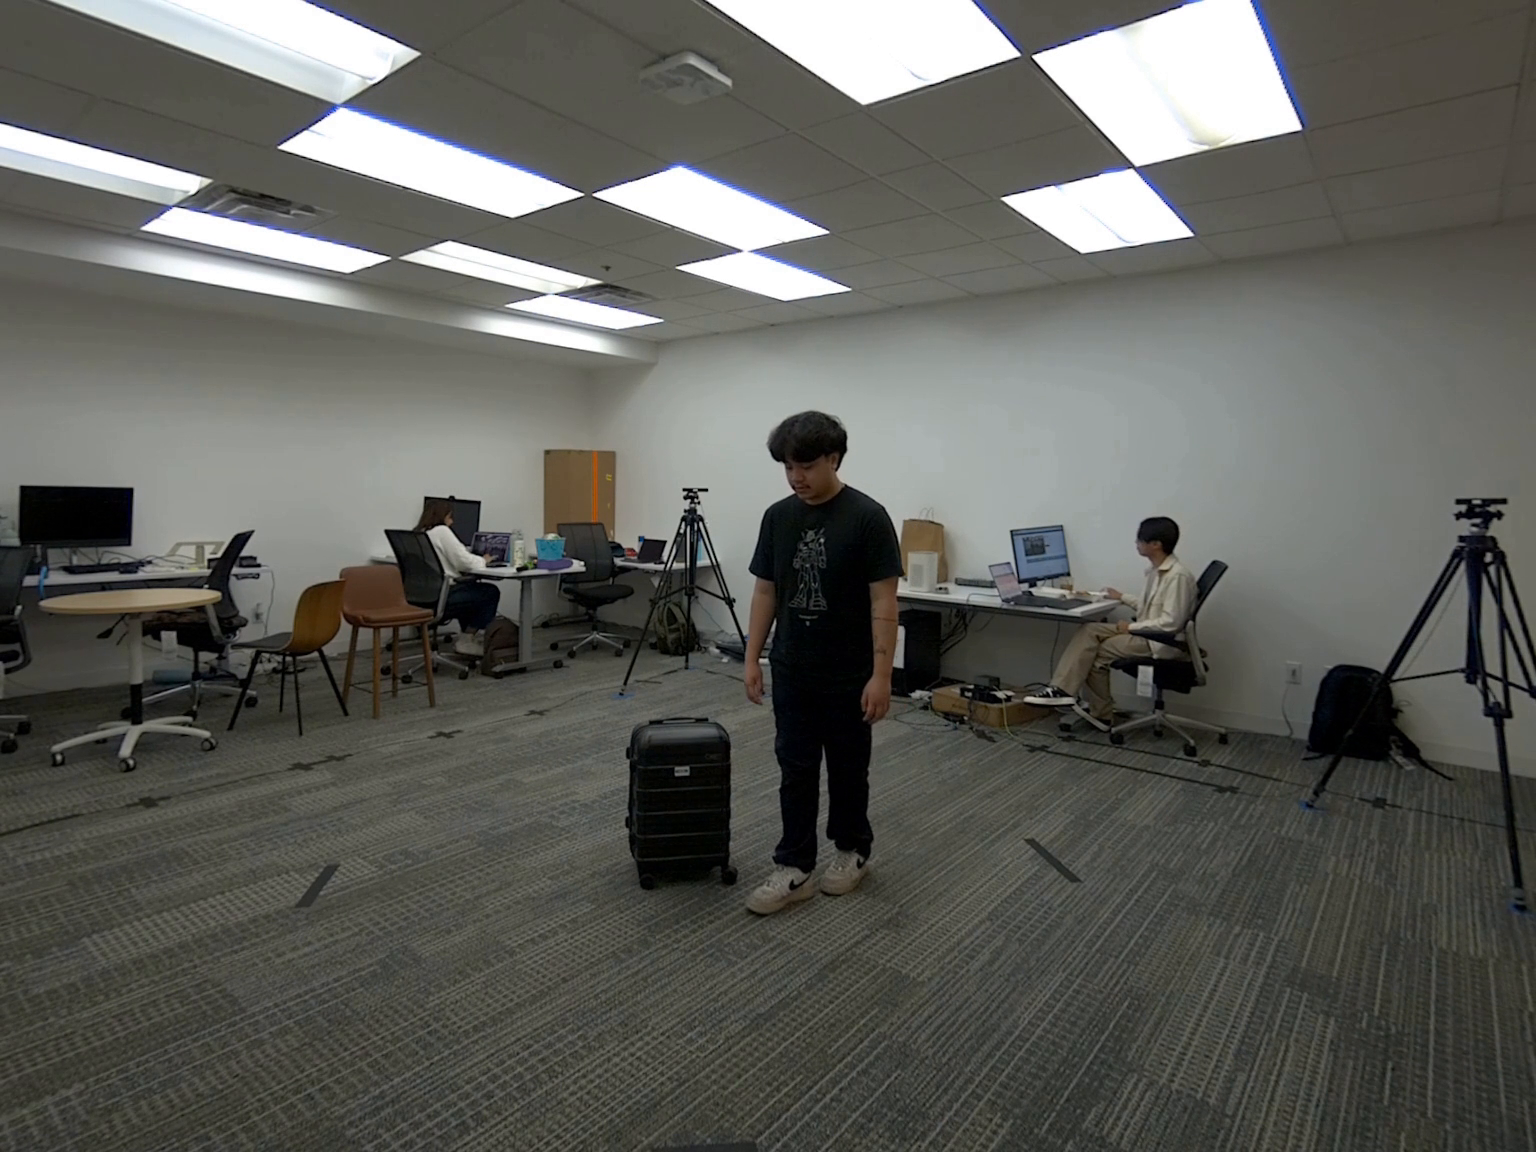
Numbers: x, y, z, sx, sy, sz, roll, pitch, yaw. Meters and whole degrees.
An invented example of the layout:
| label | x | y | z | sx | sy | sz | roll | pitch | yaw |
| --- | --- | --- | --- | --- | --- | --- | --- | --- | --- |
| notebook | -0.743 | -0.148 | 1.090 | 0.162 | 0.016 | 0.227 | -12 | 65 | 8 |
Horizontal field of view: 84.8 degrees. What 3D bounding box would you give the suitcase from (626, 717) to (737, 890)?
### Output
| label | x | y | z | sx | sy | sz | roll | pitch | yaw |
| --- | --- | --- | --- | --- | --- | --- | --- | --- | --- |
| suitcase | -0.327 | 0.794 | 3.079 | 0.371 | 0.548 | 0.252 | 0 | 2 | -12 |
